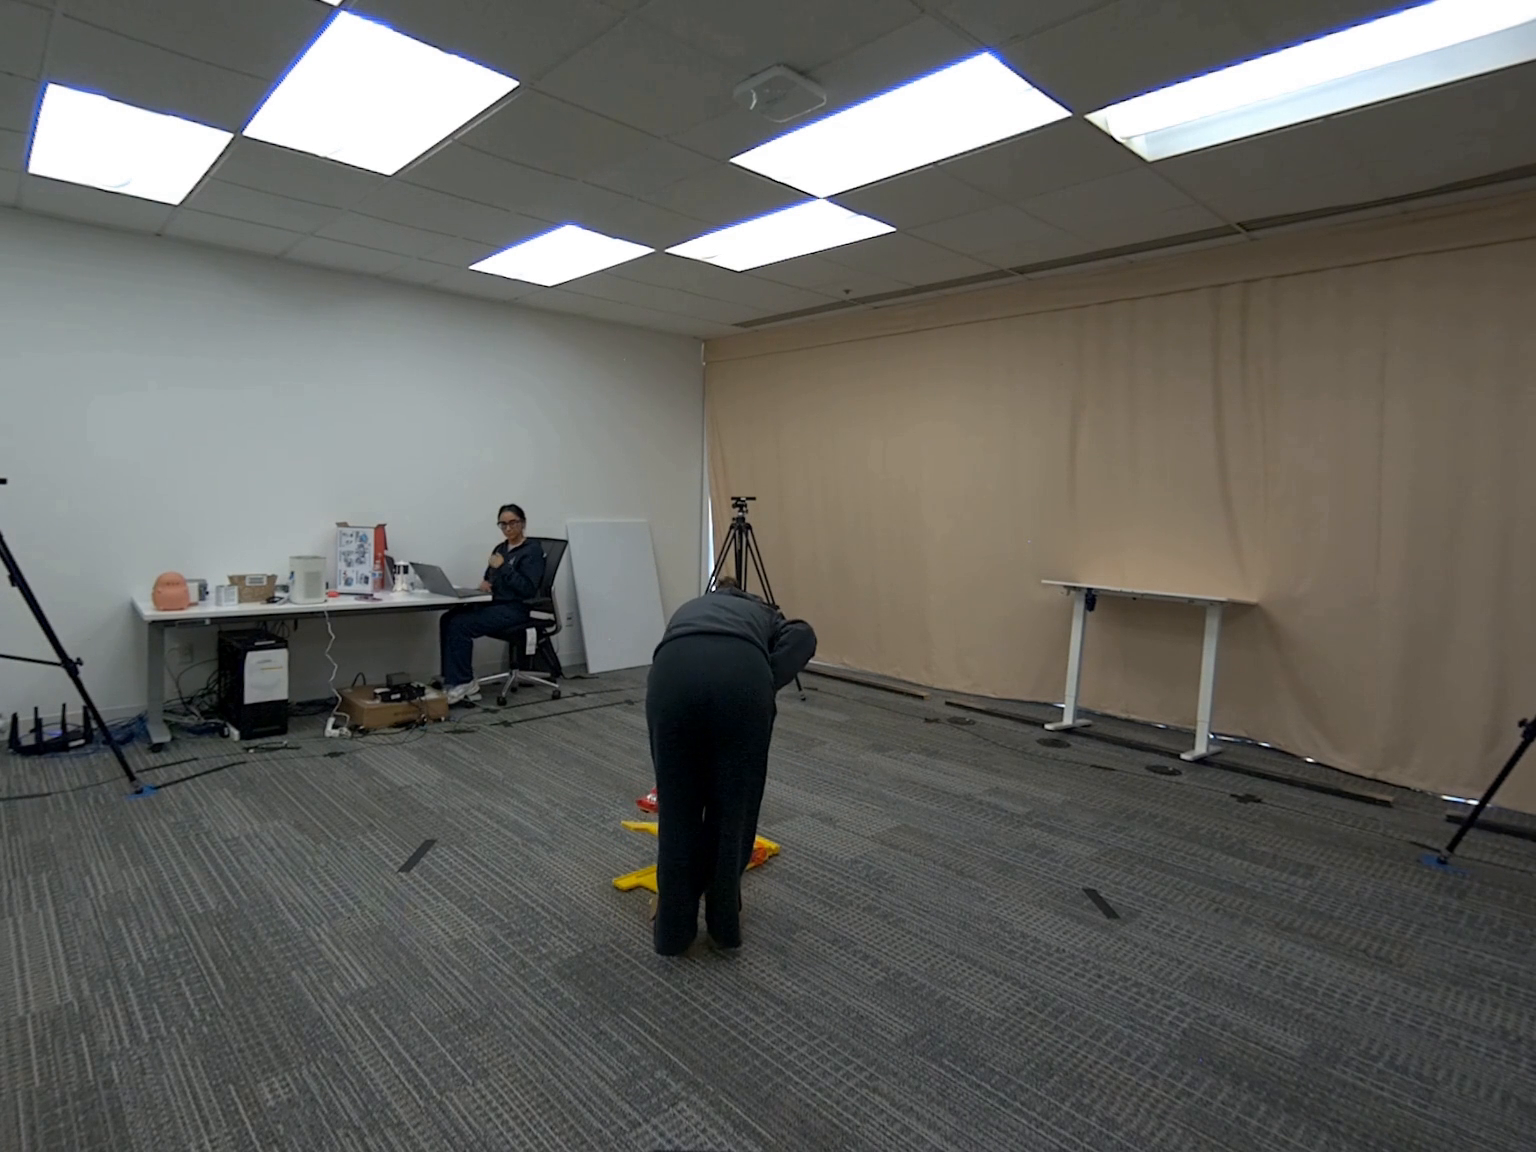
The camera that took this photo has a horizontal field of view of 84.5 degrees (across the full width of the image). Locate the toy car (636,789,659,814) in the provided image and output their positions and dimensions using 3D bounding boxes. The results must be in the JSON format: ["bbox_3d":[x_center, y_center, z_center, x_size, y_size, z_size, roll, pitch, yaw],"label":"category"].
[{"bbox_3d":[-0.374,0.815,2.969,0.133,0.084,0.247,8,-15,34],"label":"toy car"}]
